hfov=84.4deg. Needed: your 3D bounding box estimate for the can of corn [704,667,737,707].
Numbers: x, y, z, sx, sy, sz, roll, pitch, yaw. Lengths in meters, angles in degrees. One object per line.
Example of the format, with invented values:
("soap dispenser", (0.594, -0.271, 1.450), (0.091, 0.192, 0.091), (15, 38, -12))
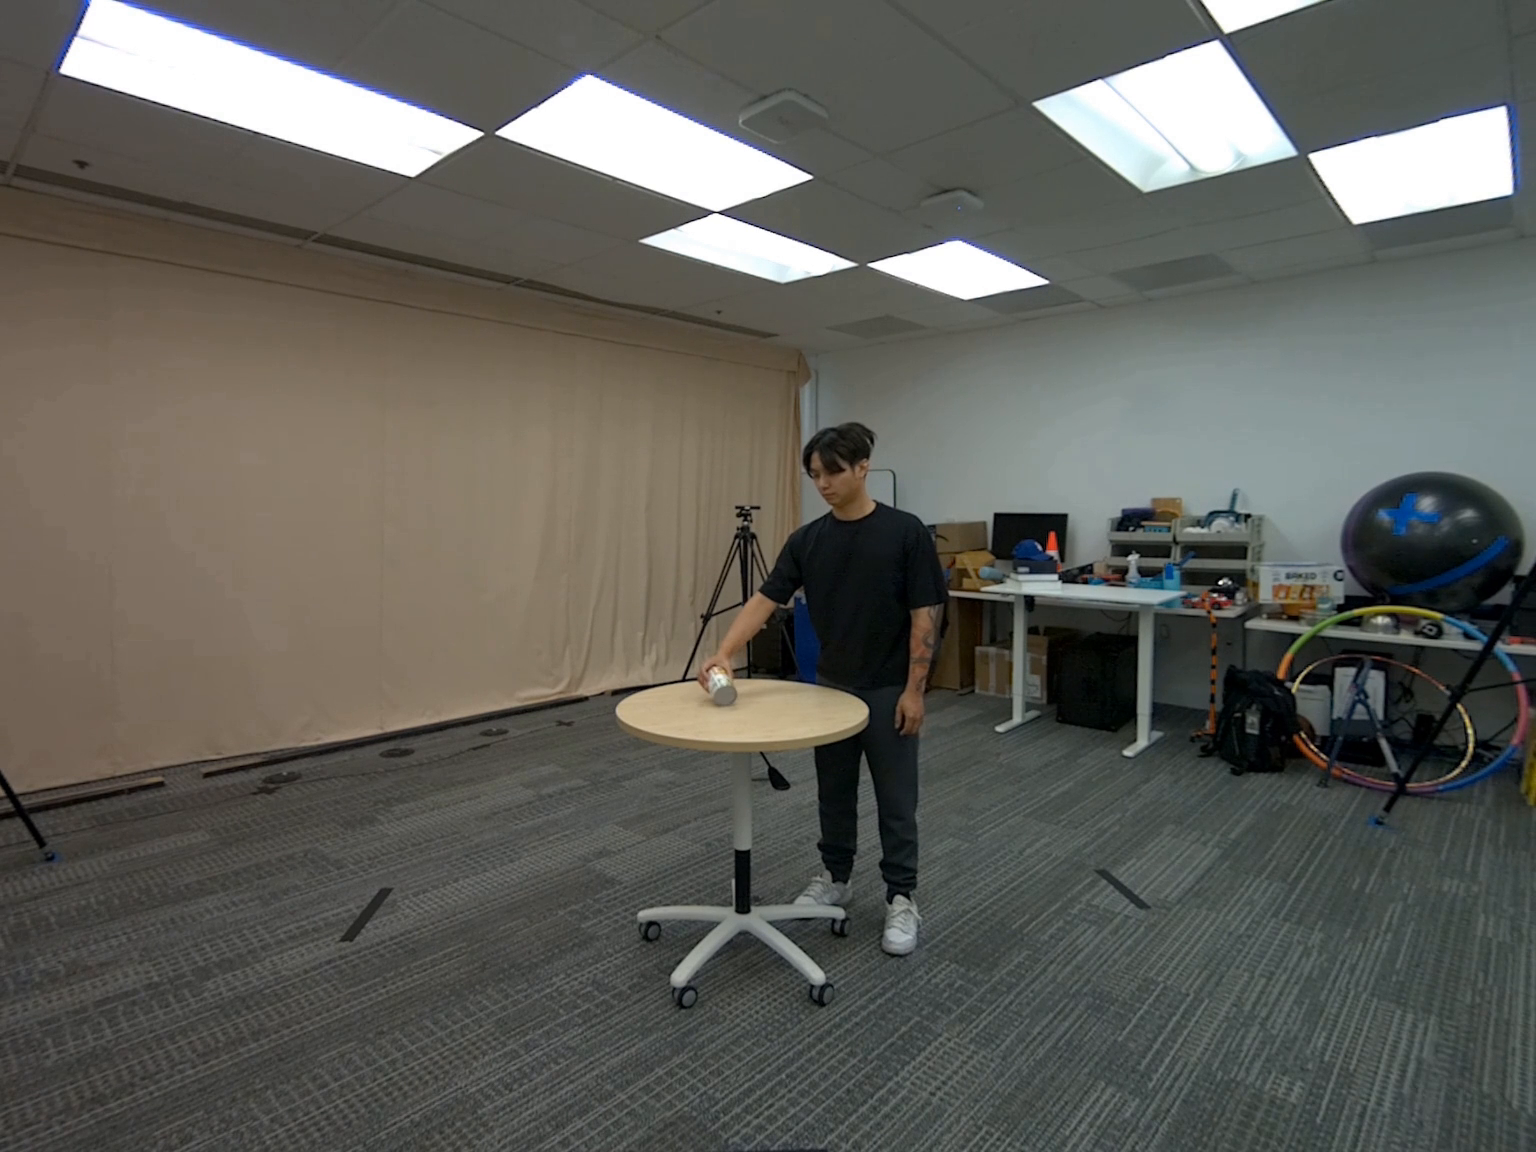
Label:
("can of corn", (-0.140, 0.343, 2.593), (0.073, 0.073, 0.113), (-1, 21, -12))
